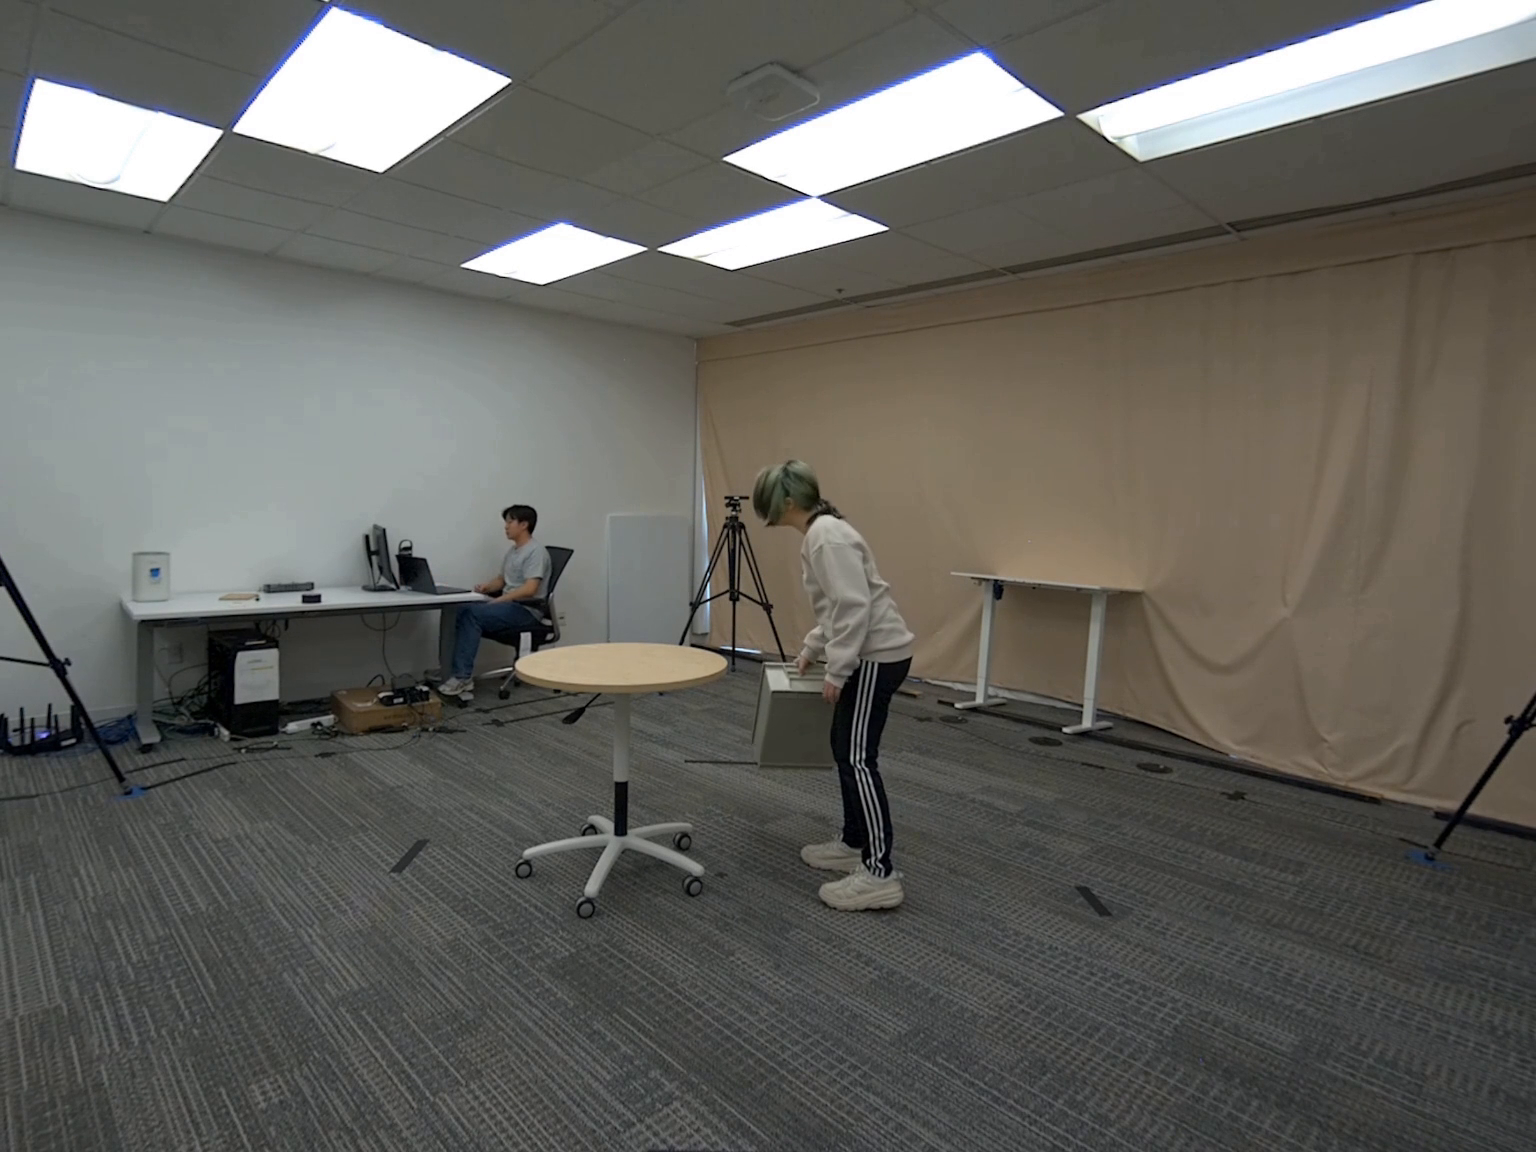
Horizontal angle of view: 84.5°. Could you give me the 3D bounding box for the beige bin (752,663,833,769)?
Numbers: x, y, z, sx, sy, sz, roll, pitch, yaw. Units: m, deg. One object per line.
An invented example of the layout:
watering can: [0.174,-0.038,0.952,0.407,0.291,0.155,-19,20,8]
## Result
beige bin: [0.138,0.586,3.497,0.375,0.415,0.193,3,28,-6]
